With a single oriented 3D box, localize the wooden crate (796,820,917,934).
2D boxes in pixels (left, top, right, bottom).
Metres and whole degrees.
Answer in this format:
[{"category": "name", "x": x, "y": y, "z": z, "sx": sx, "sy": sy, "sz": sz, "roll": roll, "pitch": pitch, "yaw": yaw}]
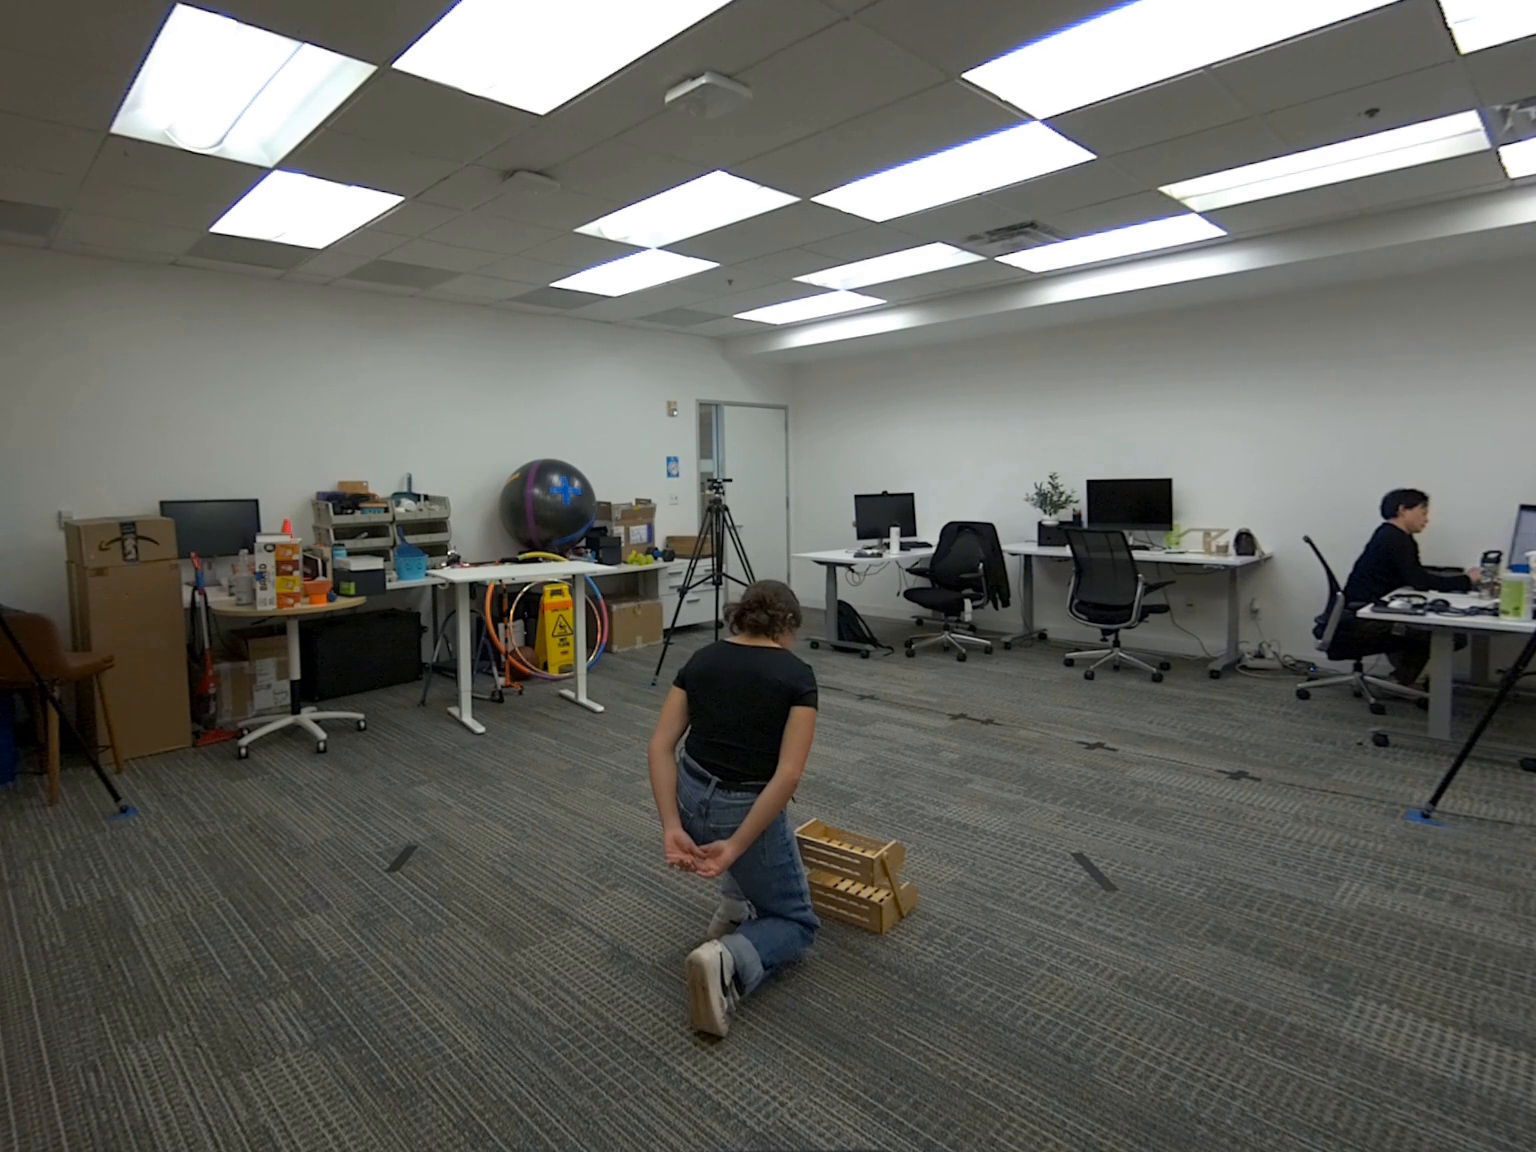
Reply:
[{"category": "wooden crate", "x": 0.292, "y": 0.947, "z": 2.773, "sx": 0.334, "sy": 0.272, "sz": 0.295, "roll": 3, "pitch": 7, "yaw": 36}]
